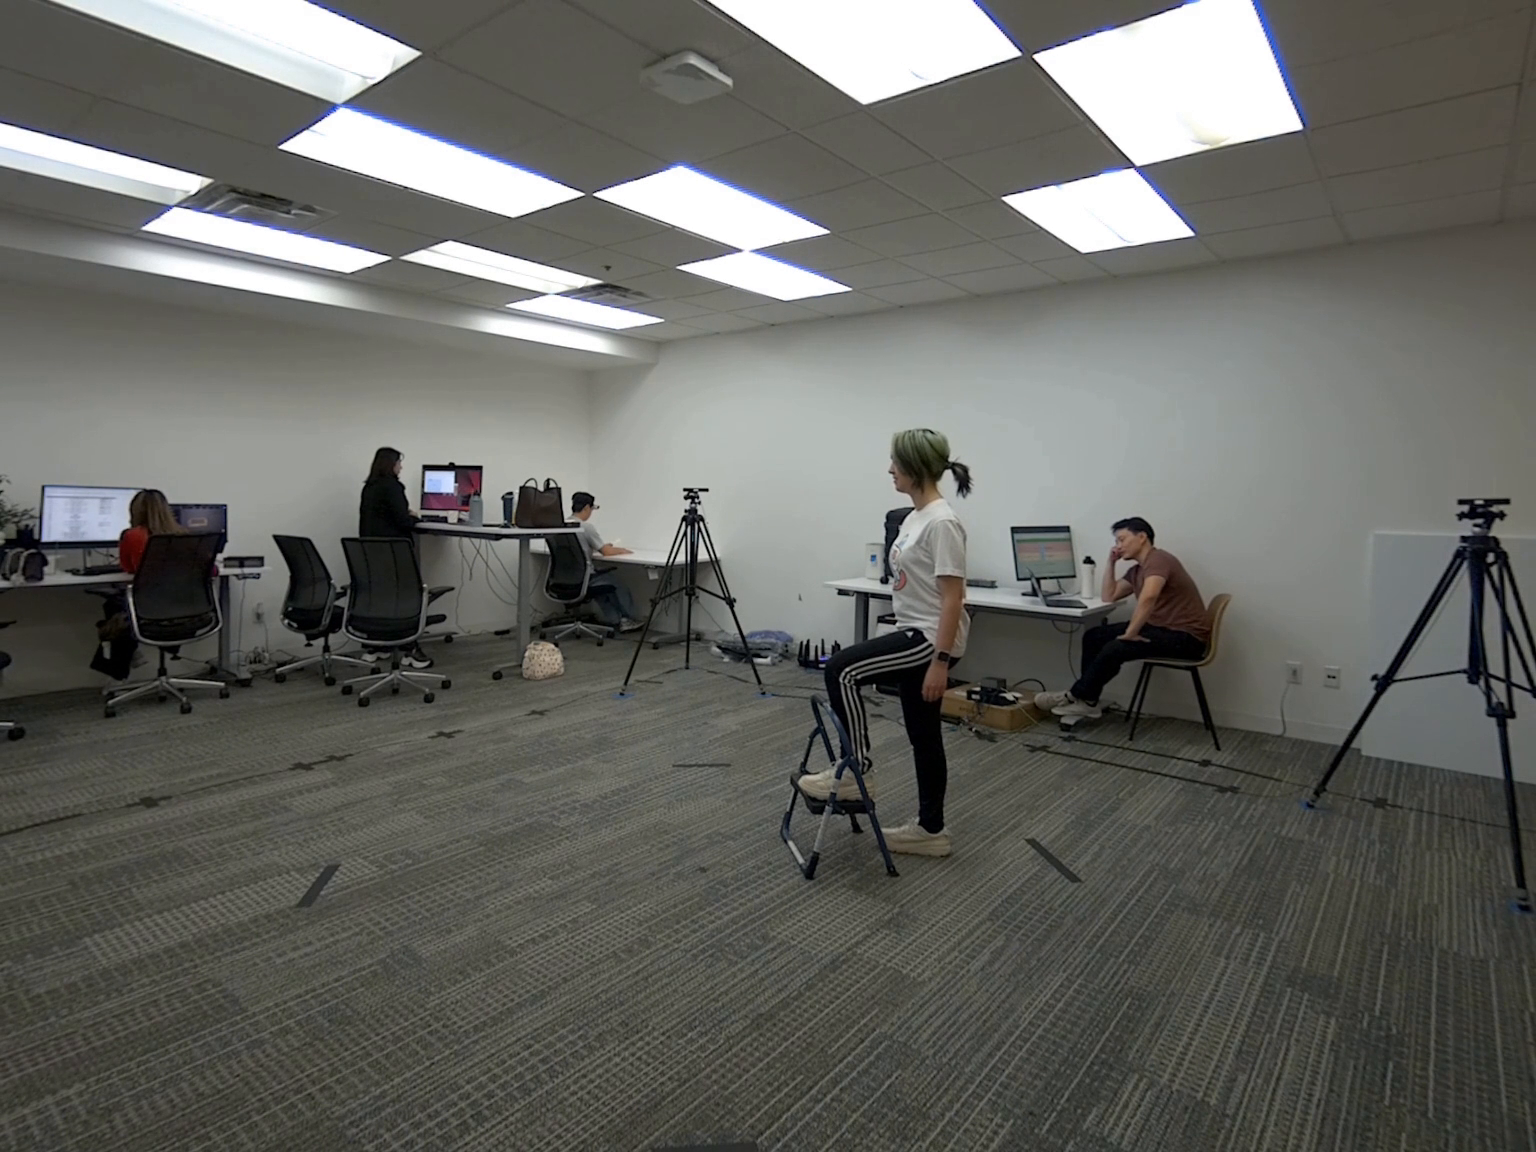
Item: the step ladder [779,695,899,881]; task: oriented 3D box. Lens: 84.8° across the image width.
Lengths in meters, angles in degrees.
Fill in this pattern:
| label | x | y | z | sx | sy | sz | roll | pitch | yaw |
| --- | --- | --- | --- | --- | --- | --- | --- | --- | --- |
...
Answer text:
| label | x | y | z | sx | sy | sz | roll | pitch | yaw |
| --- | --- | --- | --- | --- | --- | --- | --- | --- | --- |
| step ladder | 0.259 | 0.769 | 3.257 | 0.345 | 0.604 | 0.437 | 1 | 3 | -13 |
